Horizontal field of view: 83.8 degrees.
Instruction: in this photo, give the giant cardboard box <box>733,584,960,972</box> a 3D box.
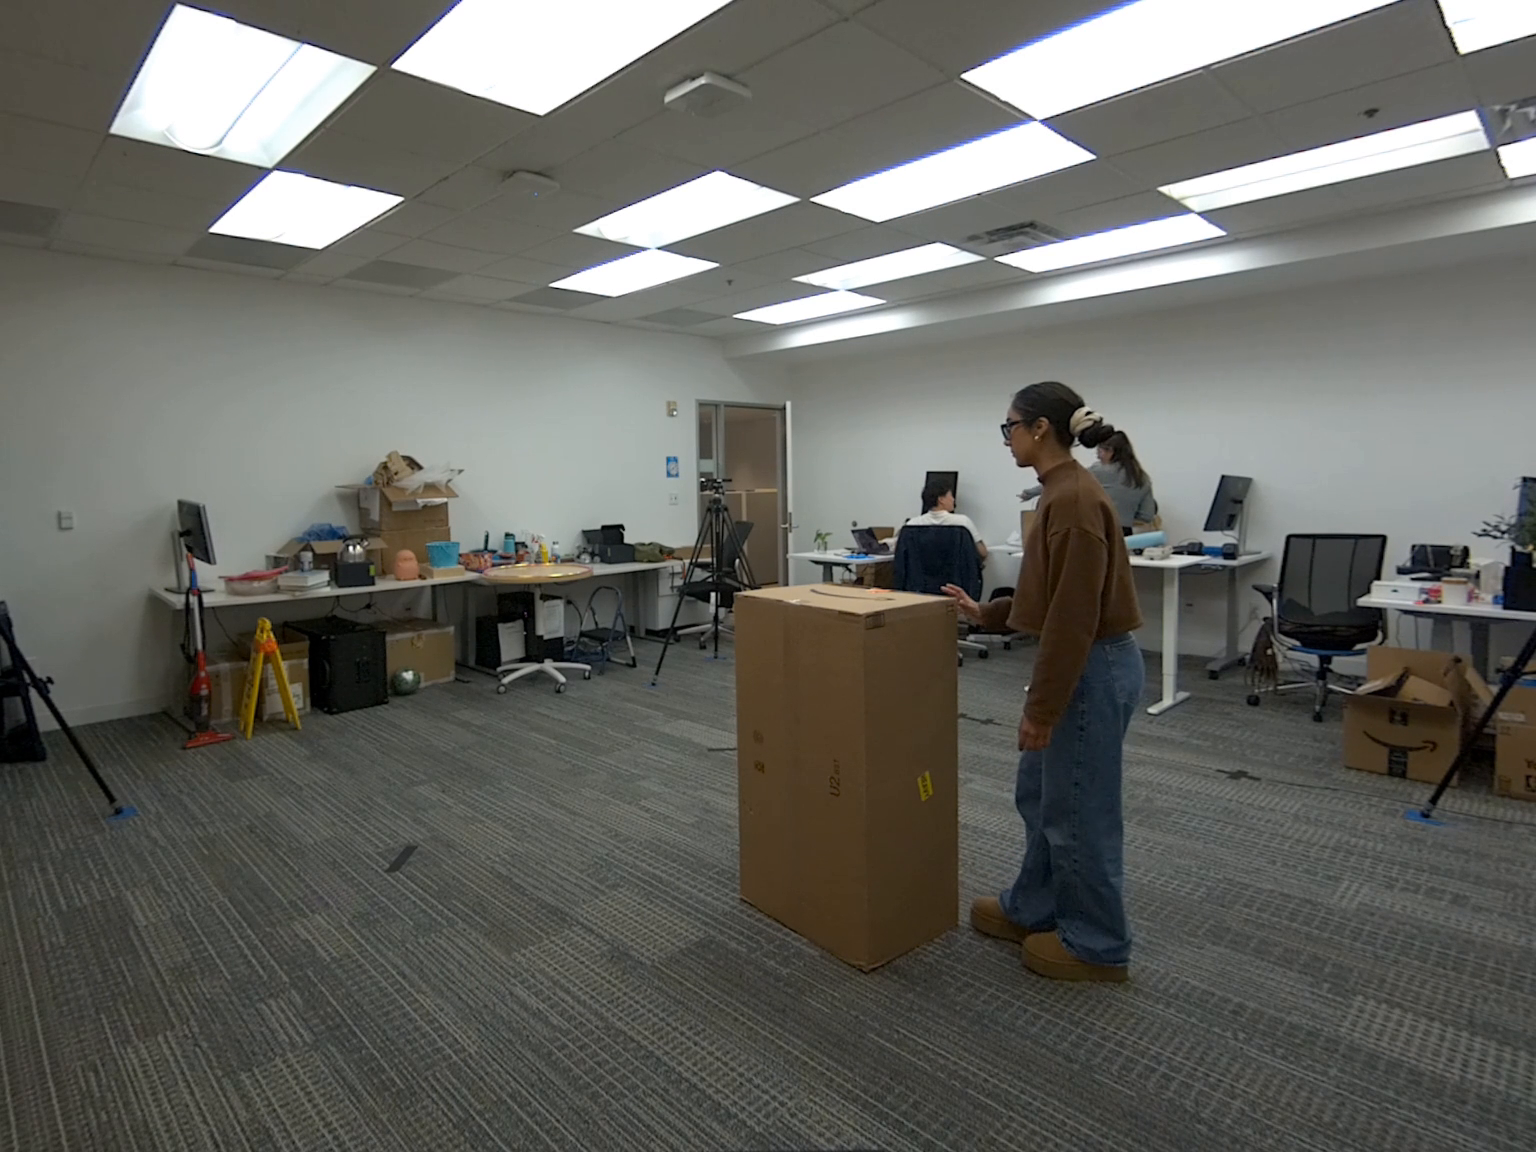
[{"bbox_3d":[0.246,0.575,2.726,0.415,1.022,0.595,-4,5,-40],"label":"giant cardboard box"}]
